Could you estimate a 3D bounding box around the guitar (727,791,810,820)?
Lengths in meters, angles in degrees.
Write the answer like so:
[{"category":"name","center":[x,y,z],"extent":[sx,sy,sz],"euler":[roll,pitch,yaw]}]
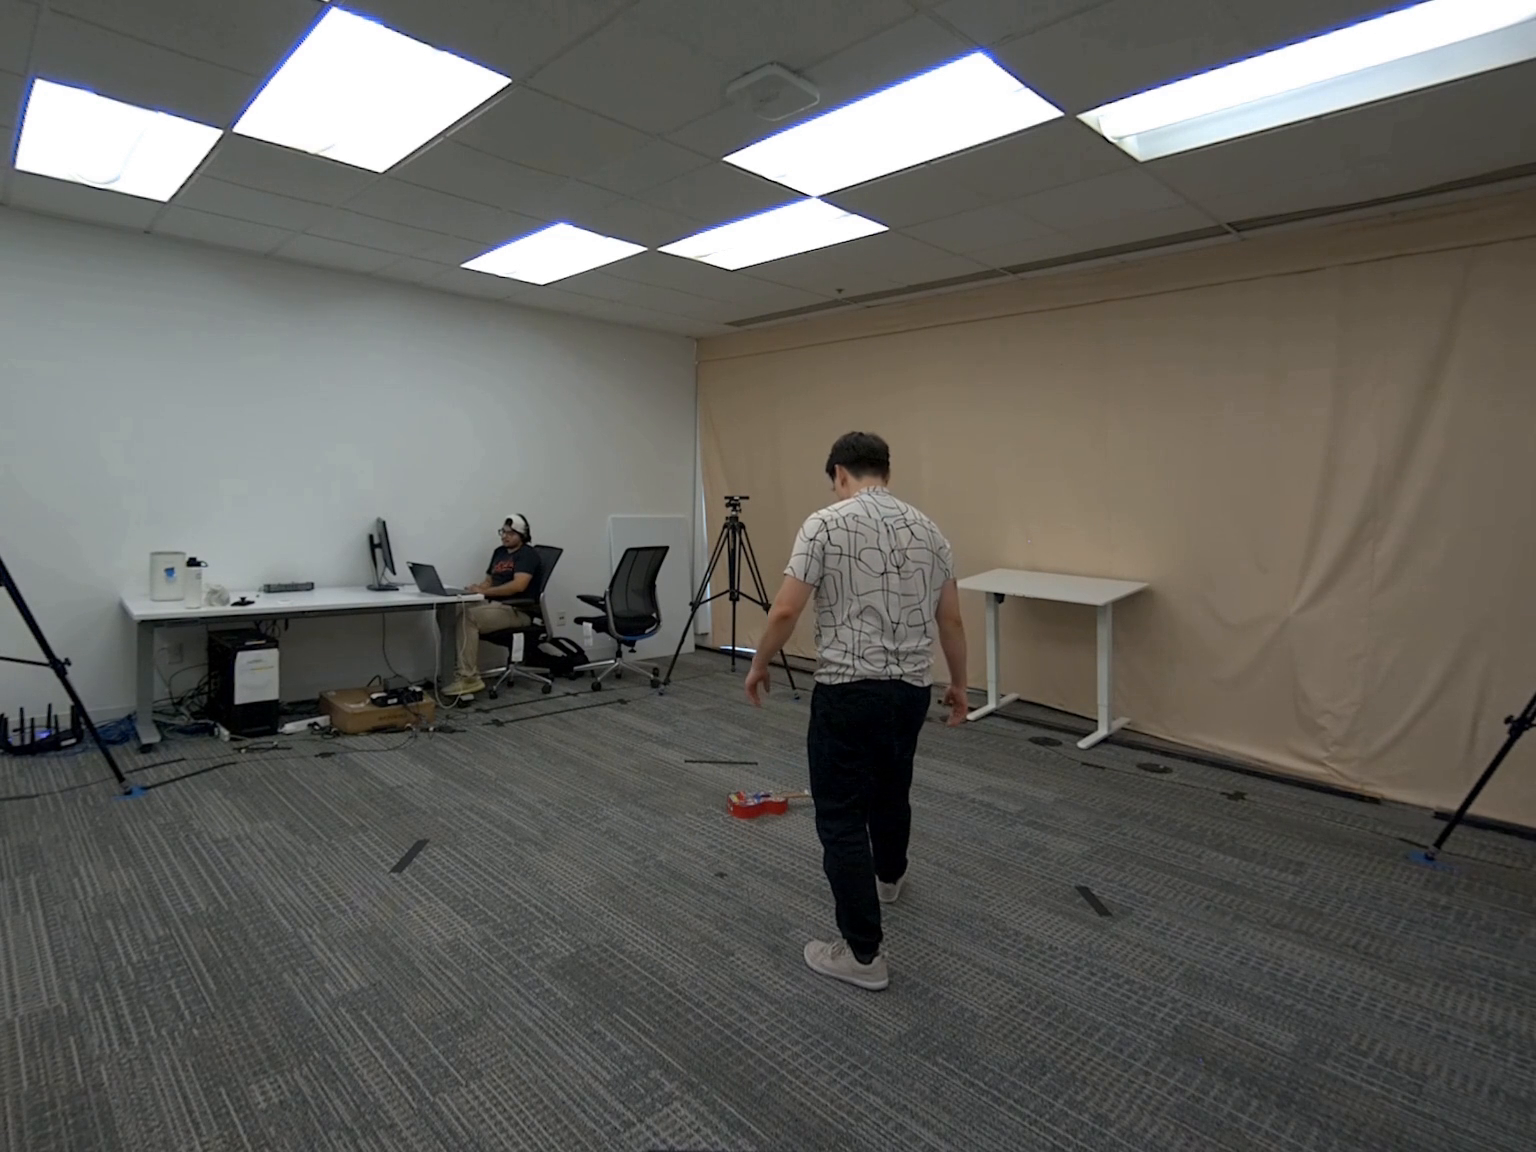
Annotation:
[{"category":"guitar","center":[0.056,1.016,3.773],"extent":[0.495,0.070,0.194],"euler":[0,4,-6]}]
